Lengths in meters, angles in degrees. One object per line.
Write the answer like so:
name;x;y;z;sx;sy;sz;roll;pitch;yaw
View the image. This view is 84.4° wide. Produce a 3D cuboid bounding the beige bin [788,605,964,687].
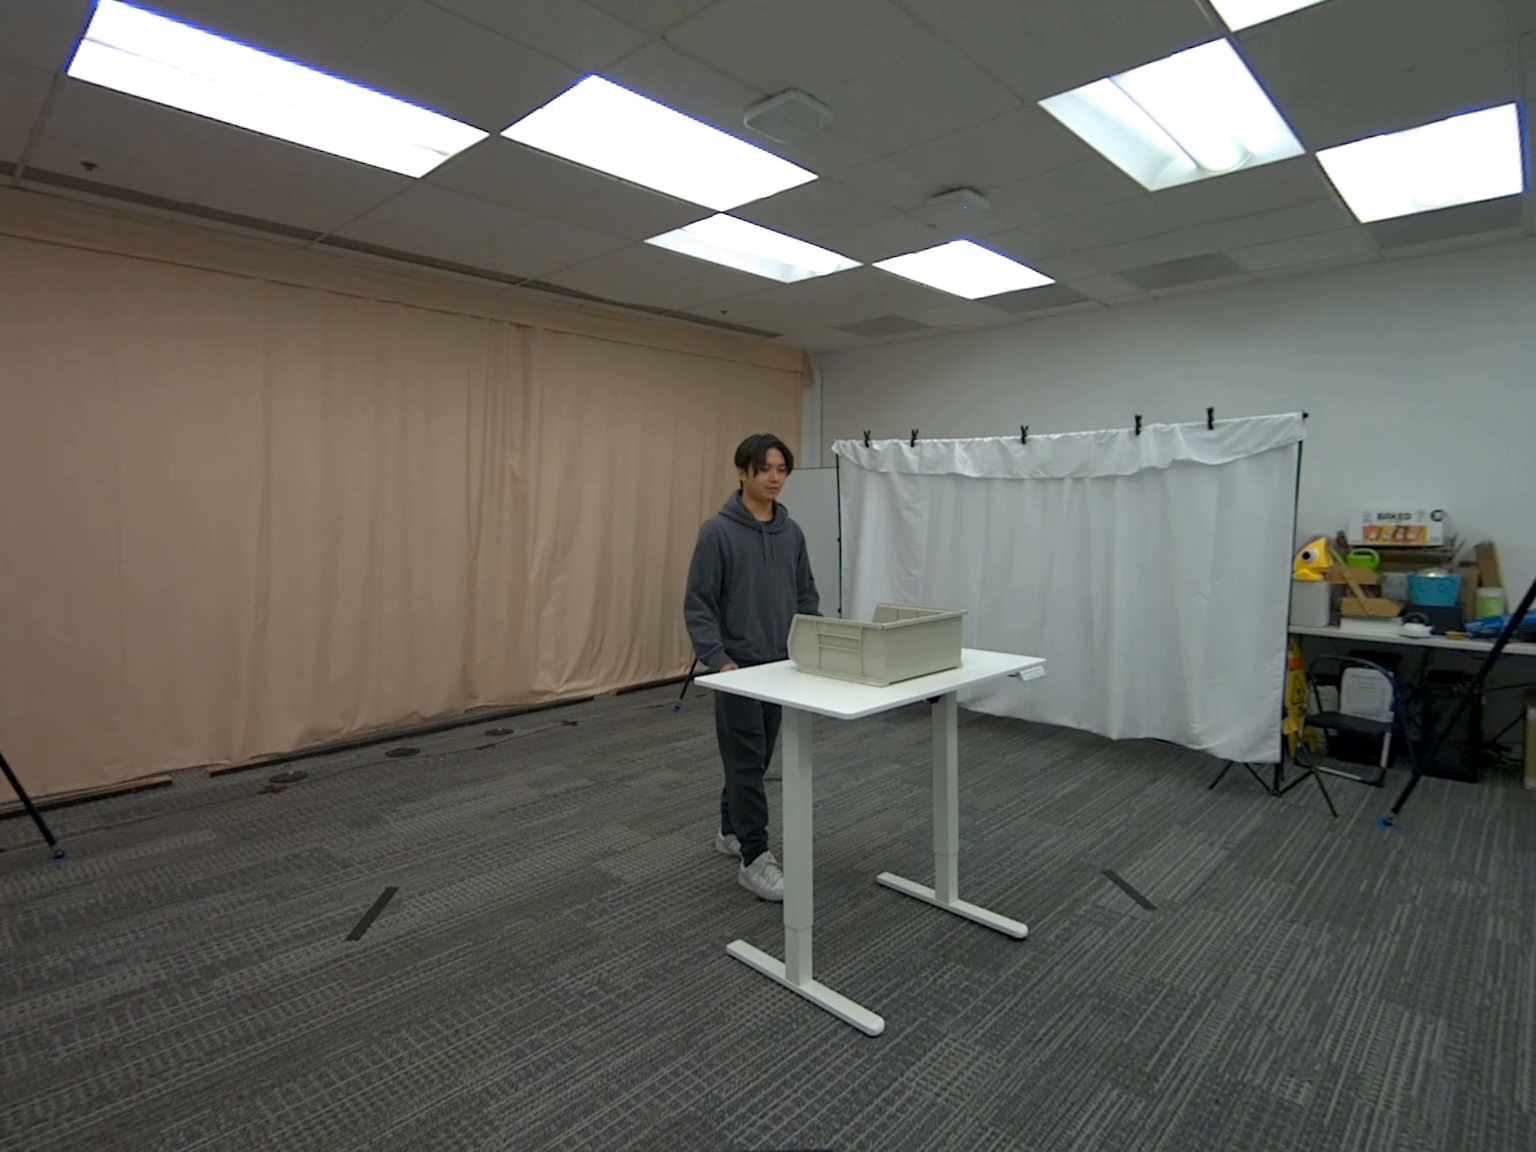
beige bin;0.342;0.202;2.619;0.409;0.188;0.390;-5;7;-43
